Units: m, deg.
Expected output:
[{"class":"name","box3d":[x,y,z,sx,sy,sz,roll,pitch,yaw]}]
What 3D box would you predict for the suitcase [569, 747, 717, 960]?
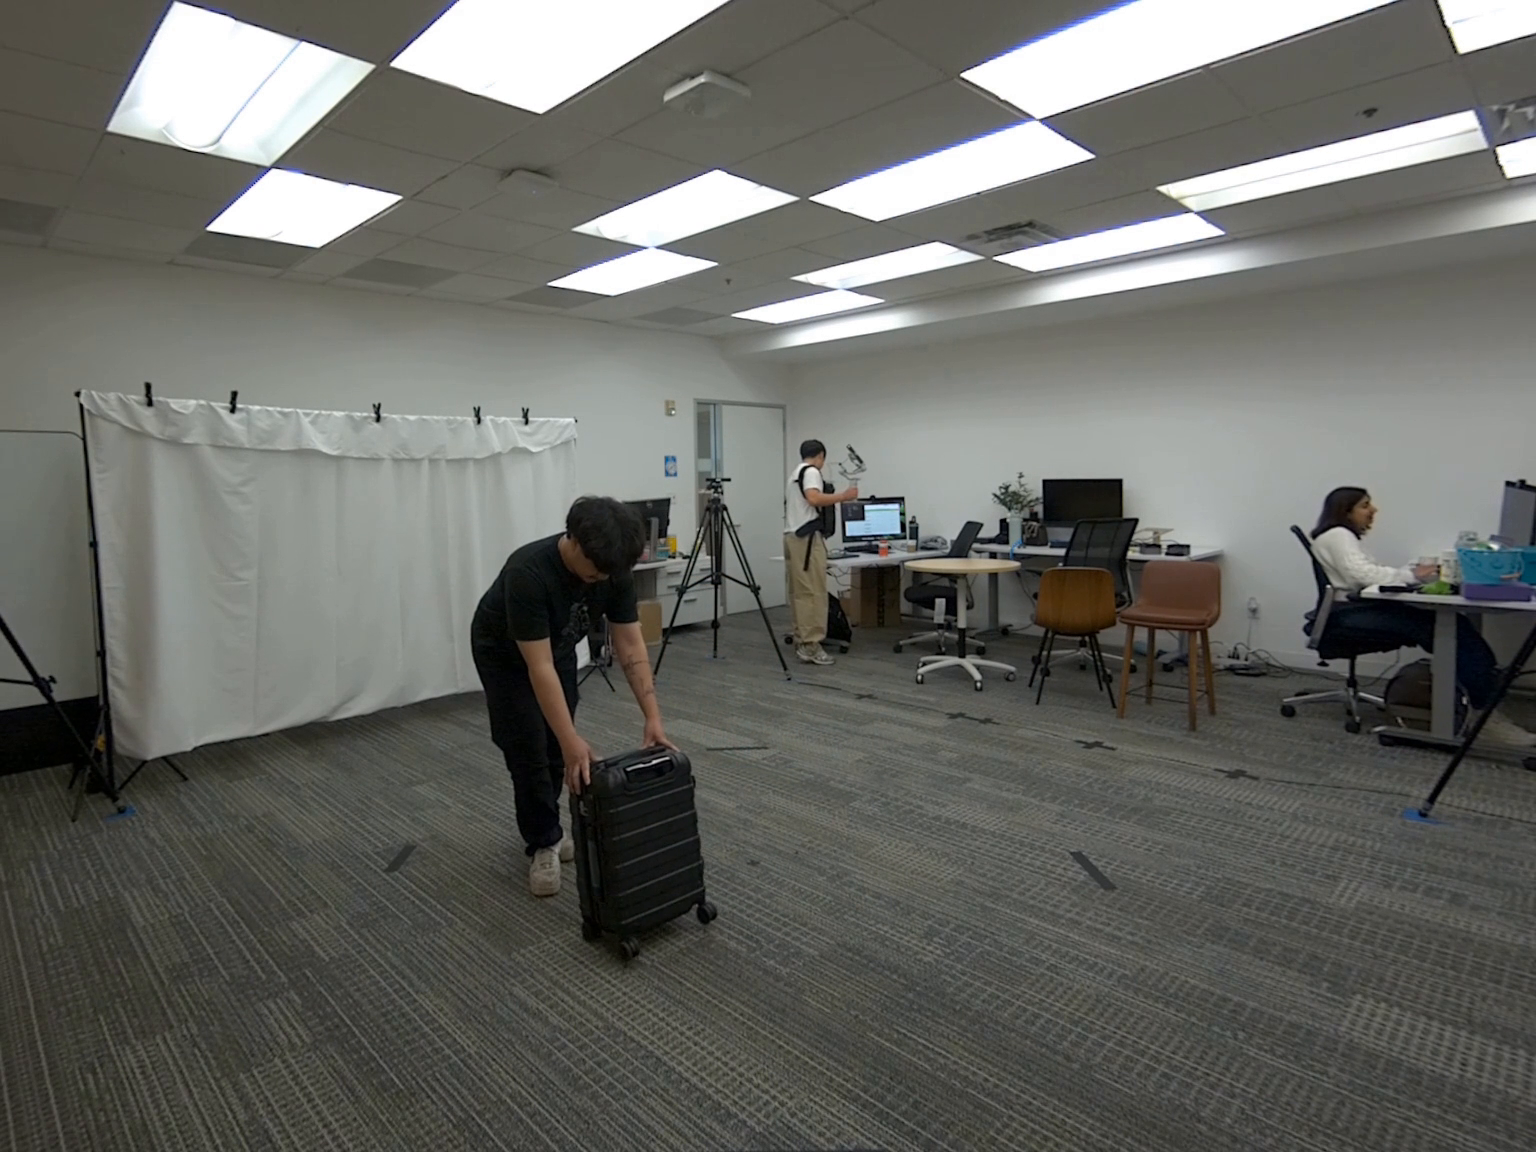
[{"class":"suitcase","box3d":[-0.409,0.824,2.658,0.366,0.550,0.254,-6,-2,-41]}]
